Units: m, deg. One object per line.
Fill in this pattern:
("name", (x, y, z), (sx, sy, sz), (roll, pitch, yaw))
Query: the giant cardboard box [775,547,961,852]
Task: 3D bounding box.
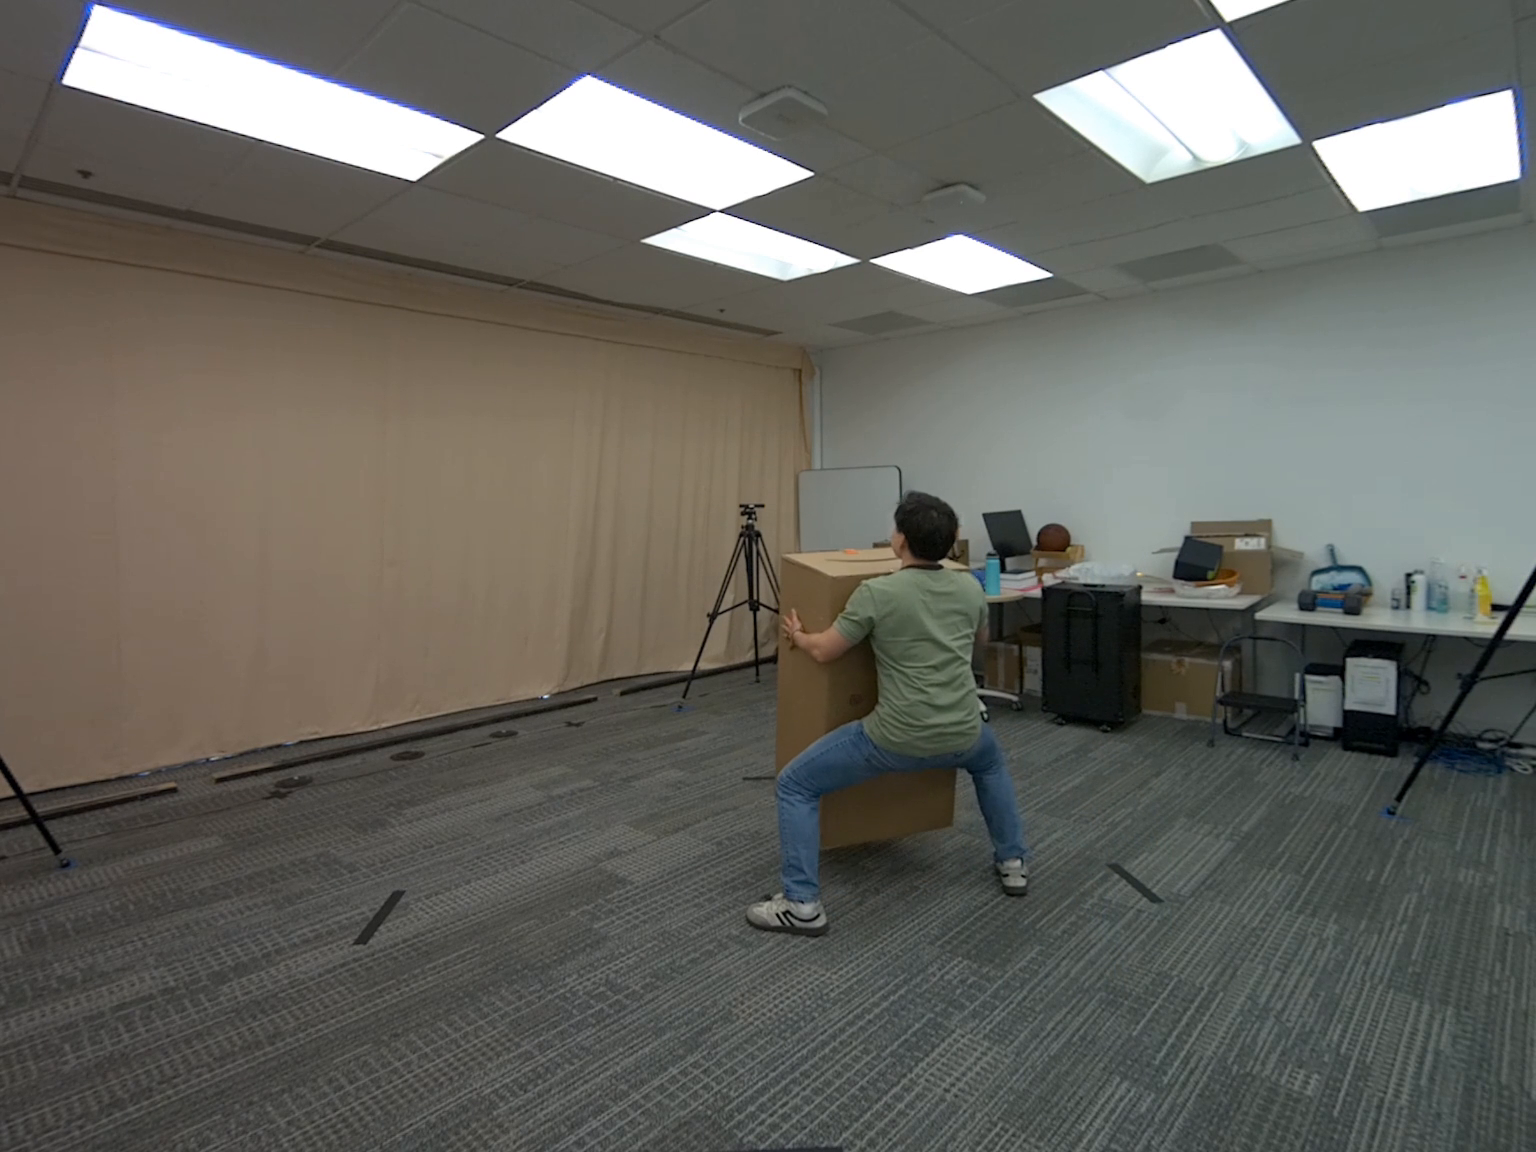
("giant cardboard box", (0.382, 0.440, 3.251), (0.566, 1.019, 0.437), (-3, 12, -20))
